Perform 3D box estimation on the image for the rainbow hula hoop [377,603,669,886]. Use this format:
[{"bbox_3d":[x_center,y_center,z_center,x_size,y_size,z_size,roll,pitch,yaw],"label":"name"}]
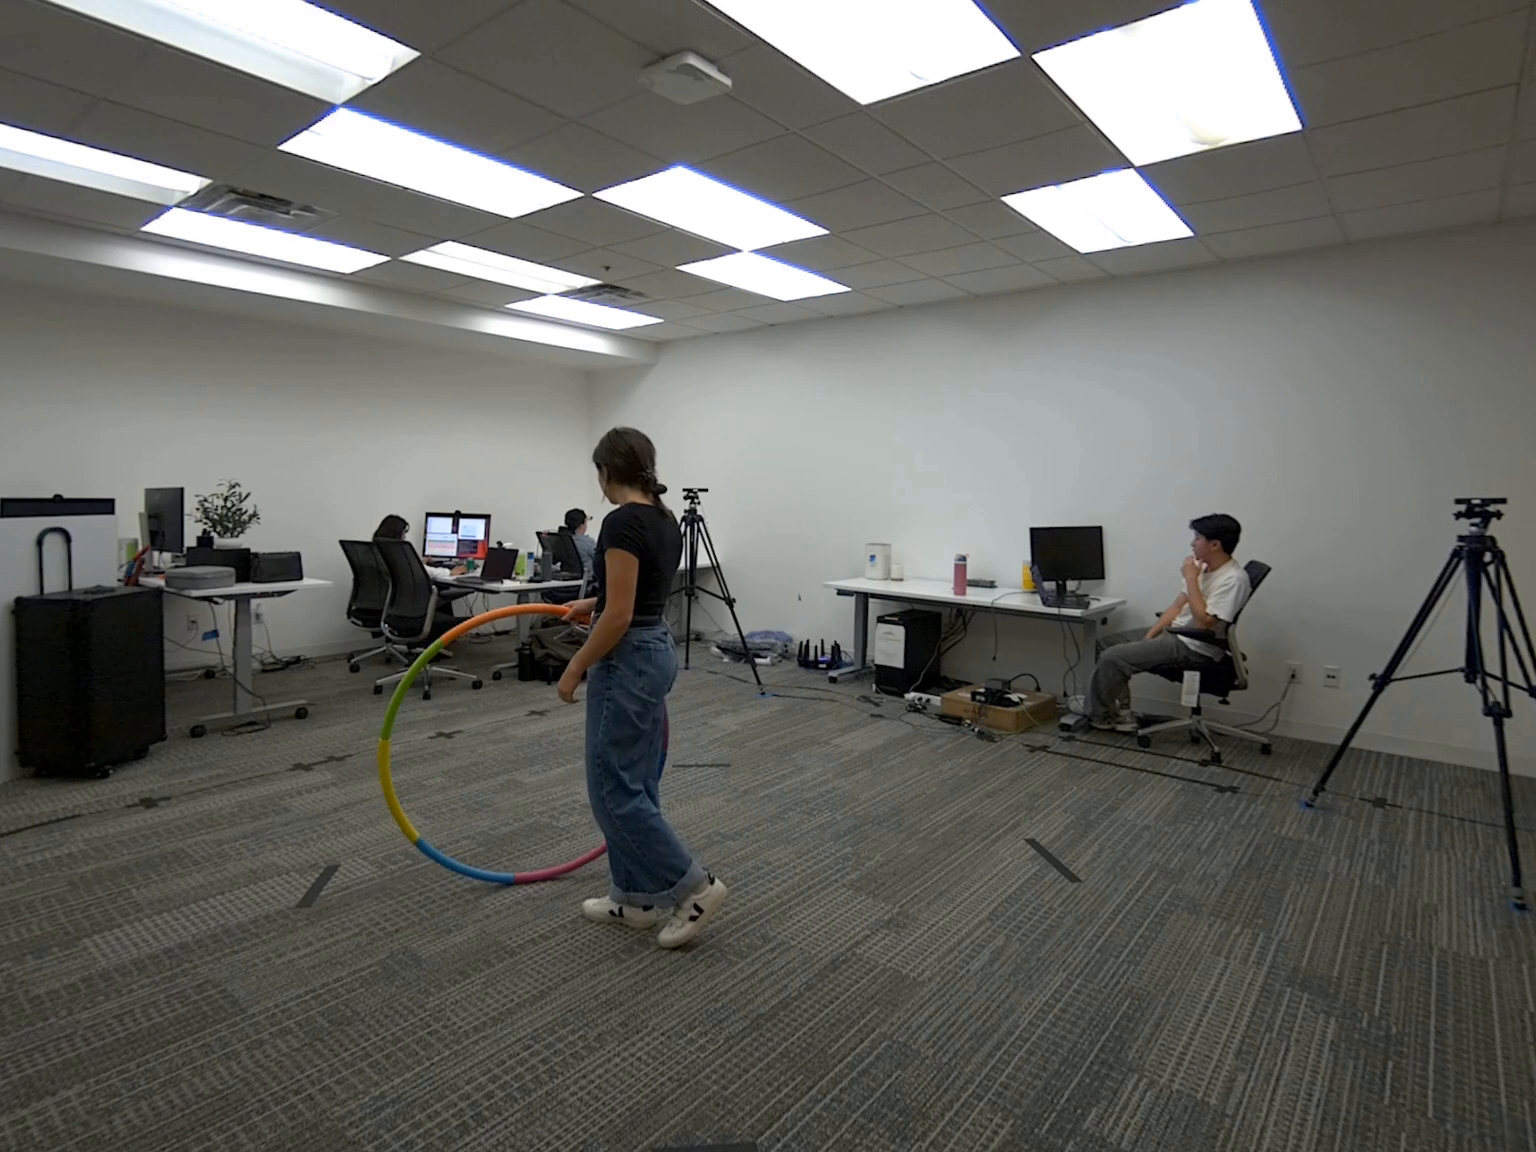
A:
[{"bbox_3d":[-0.822,0.580,2.965,0.960,0.976,0.036,-1,3,-19],"label":"rainbow hula hoop"}]
